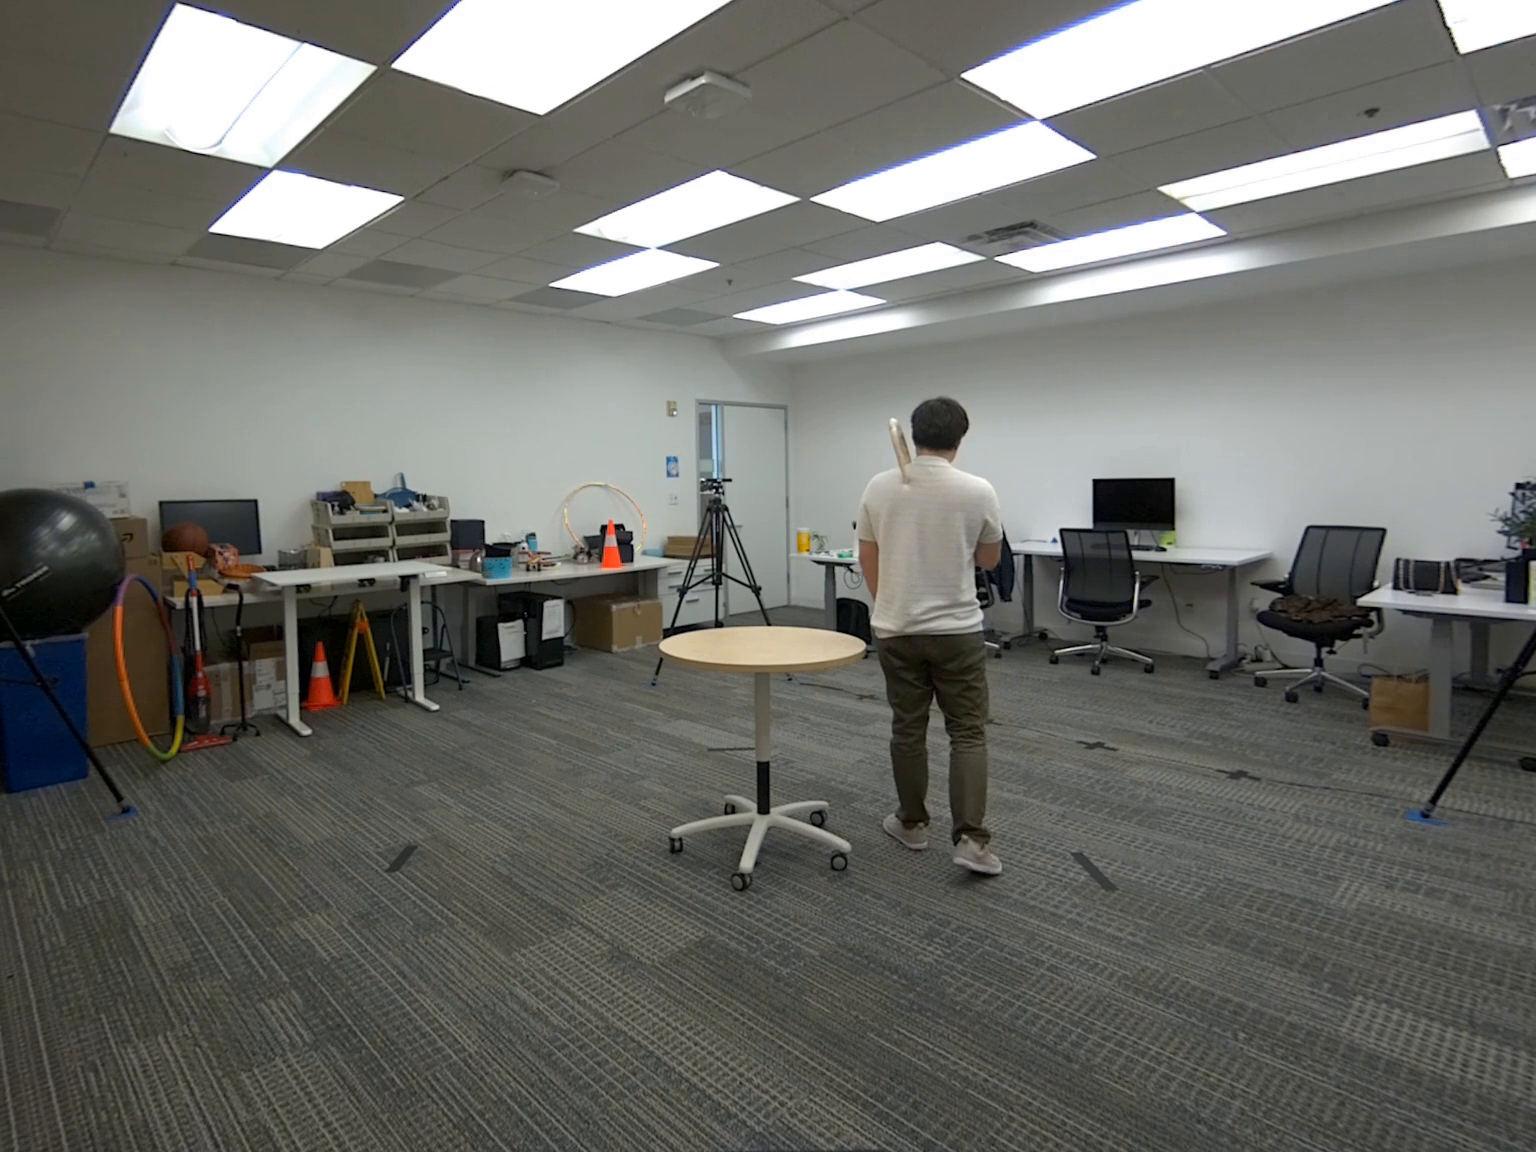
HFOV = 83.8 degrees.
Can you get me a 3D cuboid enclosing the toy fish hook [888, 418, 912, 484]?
[{"bbox_3d":[0.533,-0.352,3.177,0.049,0.490,0.229,-9,36,19],"label":"toy fish hook"}]
